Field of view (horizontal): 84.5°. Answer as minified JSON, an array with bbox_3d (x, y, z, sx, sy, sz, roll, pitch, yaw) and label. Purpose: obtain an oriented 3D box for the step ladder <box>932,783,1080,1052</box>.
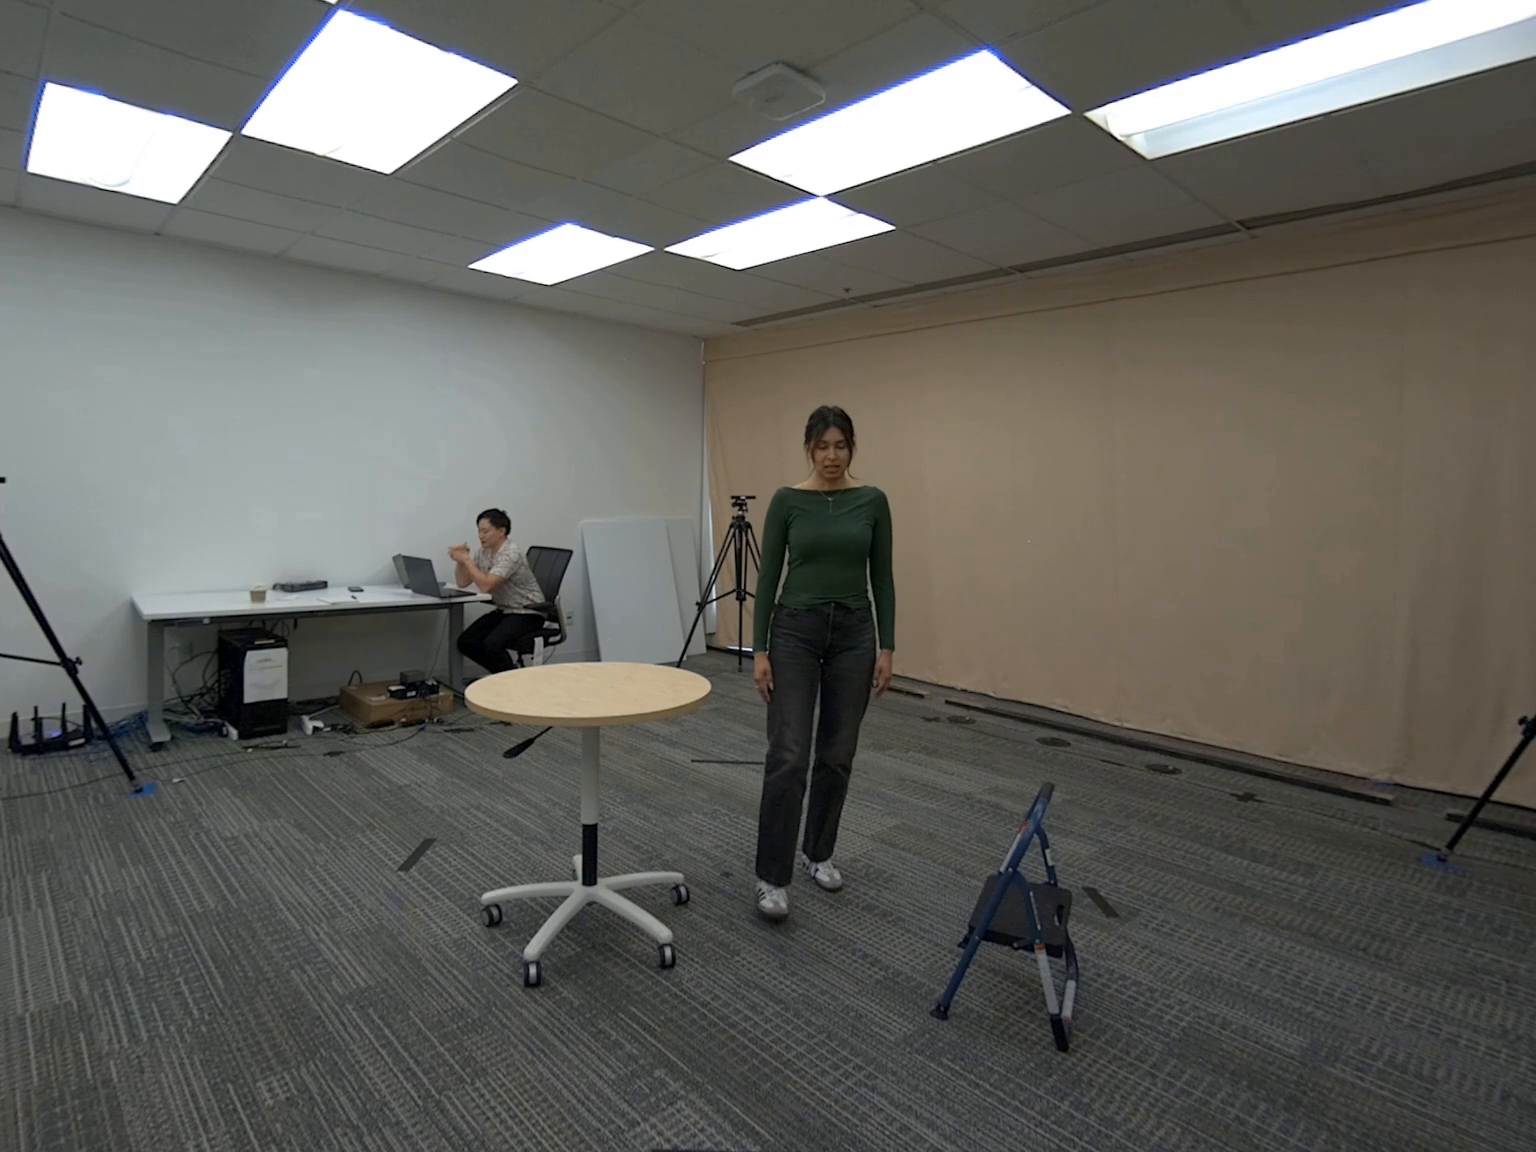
[{"bbox_3d":[0.694,0.891,2.369,0.356,0.604,0.423,4,4,24],"label":"step ladder"}]
